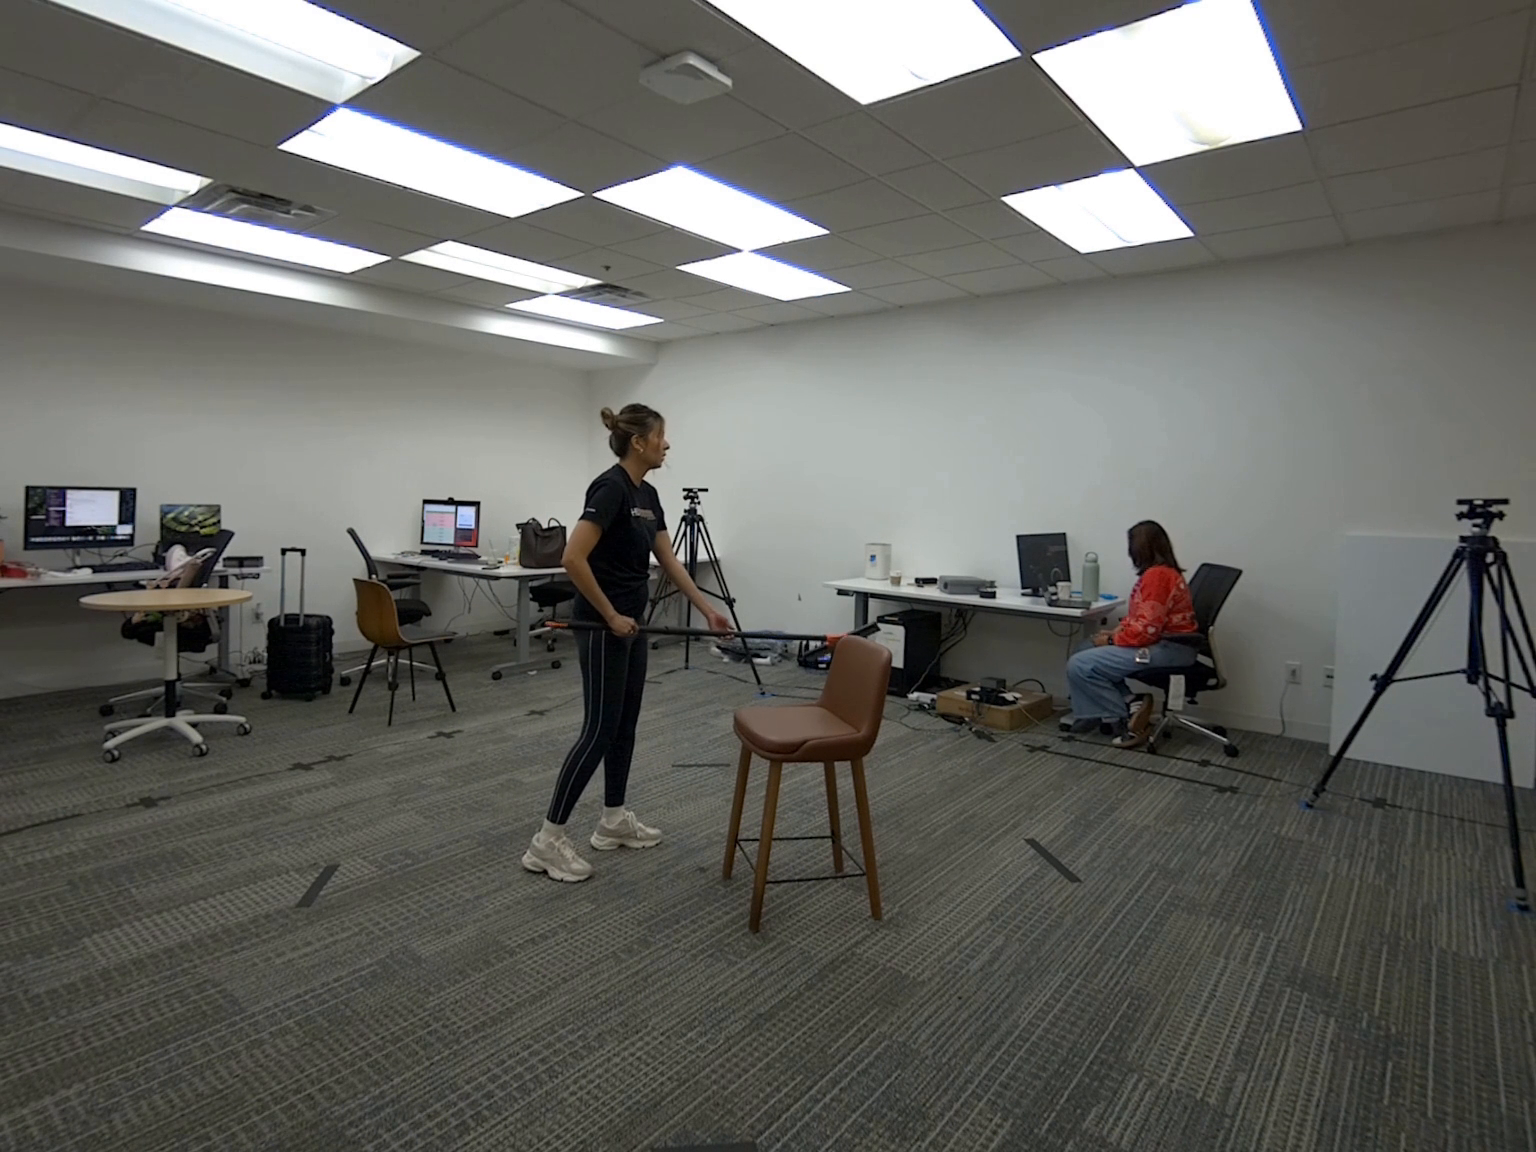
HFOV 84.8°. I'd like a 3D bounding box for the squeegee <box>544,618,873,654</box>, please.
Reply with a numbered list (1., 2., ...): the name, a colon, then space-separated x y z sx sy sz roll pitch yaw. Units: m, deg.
1. squeegee: -0.215 0.208 3.347 1.483 0.054 0.443 9 -27 -41
